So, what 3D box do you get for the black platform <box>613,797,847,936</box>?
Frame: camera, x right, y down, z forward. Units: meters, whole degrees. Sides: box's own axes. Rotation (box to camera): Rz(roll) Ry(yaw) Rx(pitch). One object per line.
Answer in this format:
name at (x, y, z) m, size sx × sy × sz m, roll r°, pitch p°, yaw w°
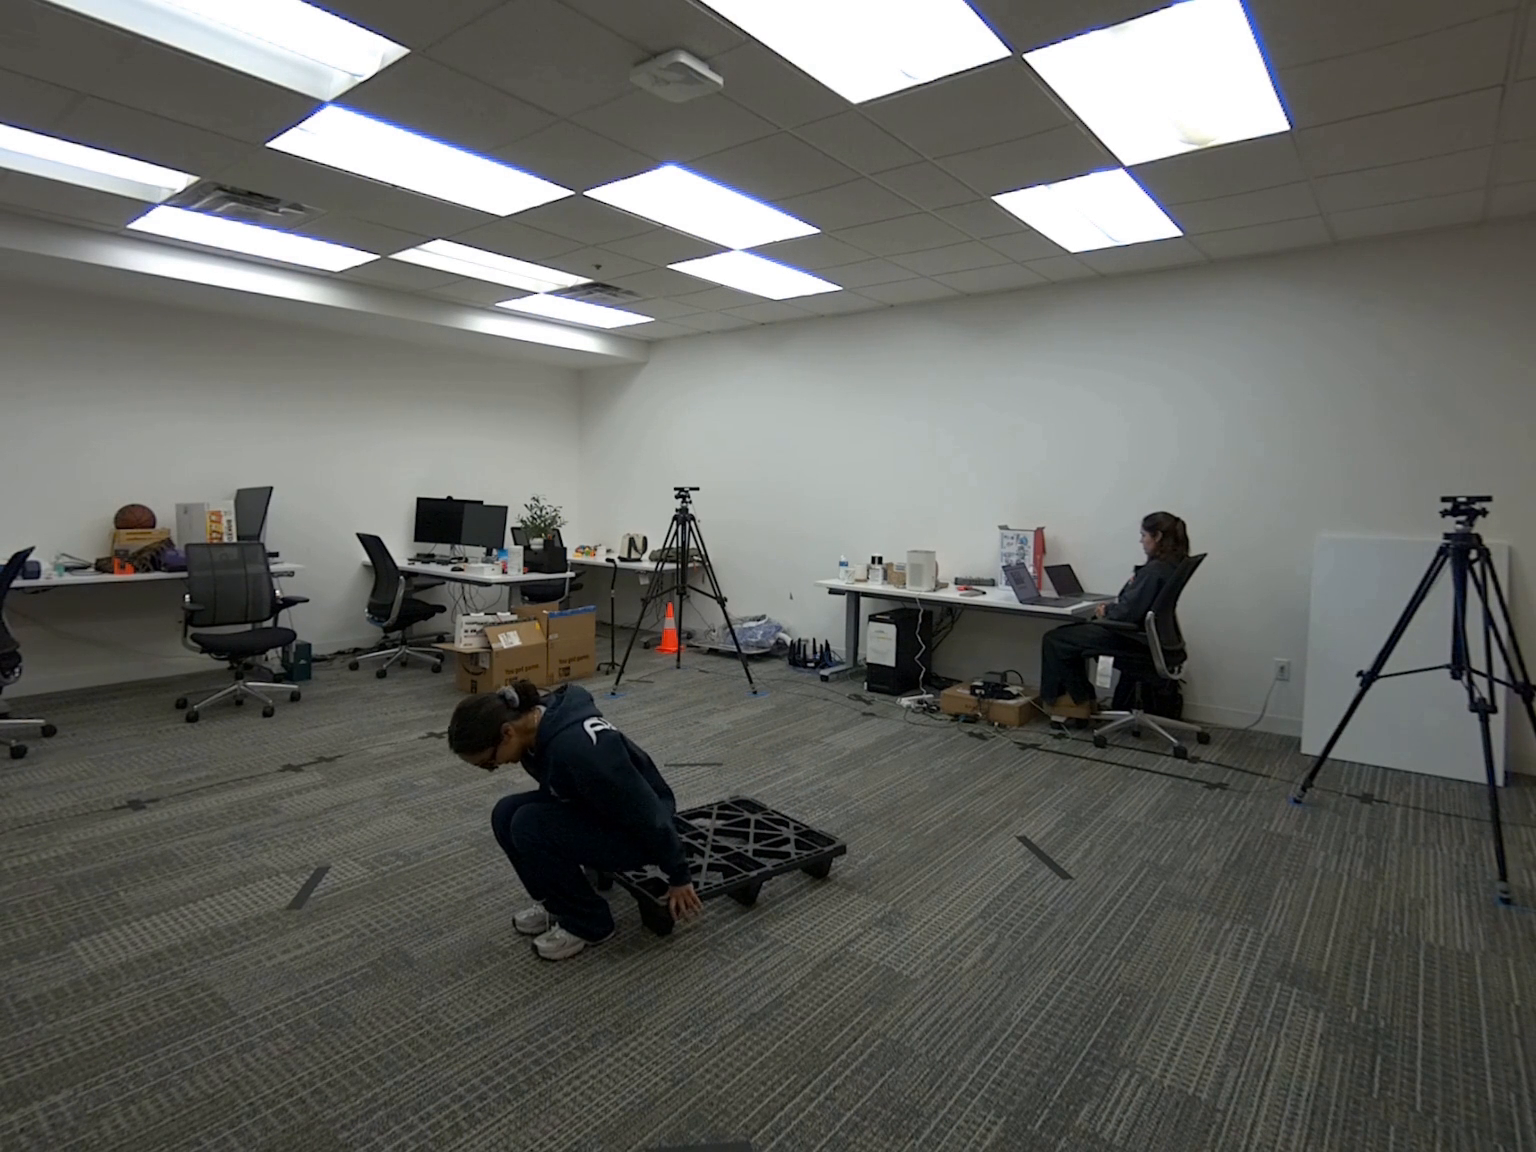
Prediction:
black platform at (-0.212, 1.006, 3.030) m, size 0.782 × 0.143 × 0.626 m, roll -4°, pitch 8°, yaw -38°
